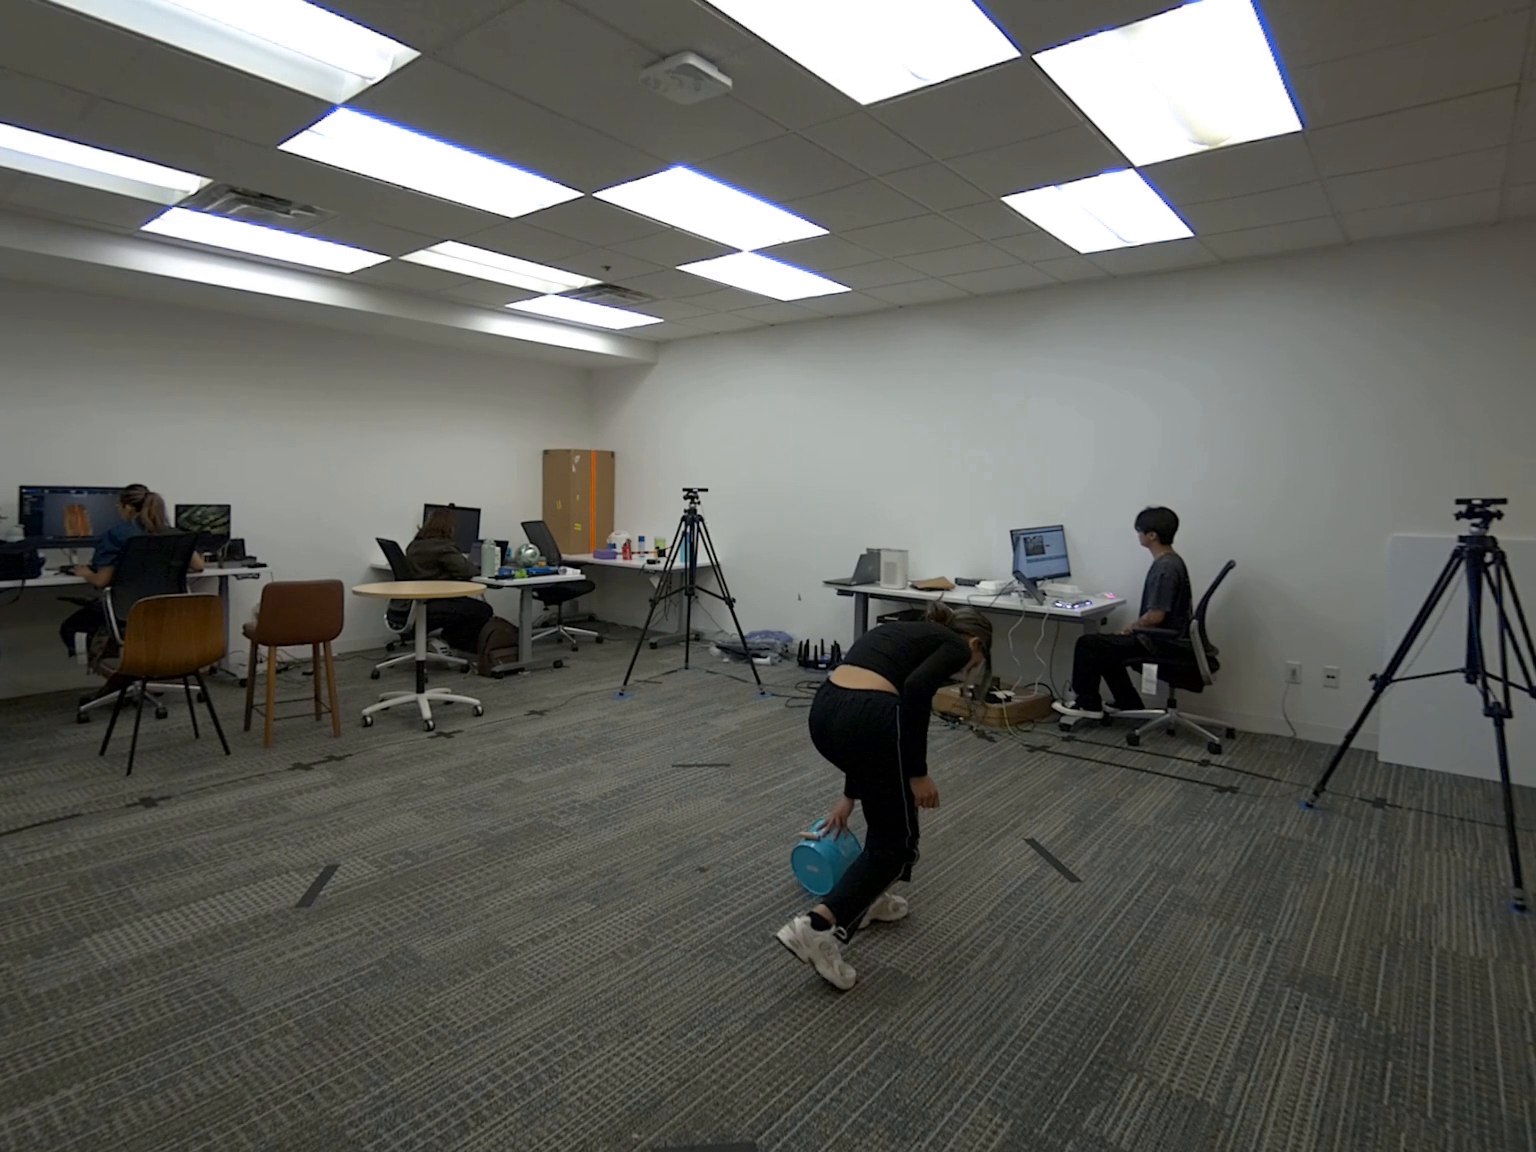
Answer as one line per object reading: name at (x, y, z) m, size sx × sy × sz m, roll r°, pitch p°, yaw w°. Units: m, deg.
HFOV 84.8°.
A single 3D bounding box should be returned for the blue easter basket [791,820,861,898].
blue easter basket at (0.190, 0.980, 2.985) m, size 0.252 × 0.241 × 0.152 m, roll 4°, pitch 16°, yaw 41°
